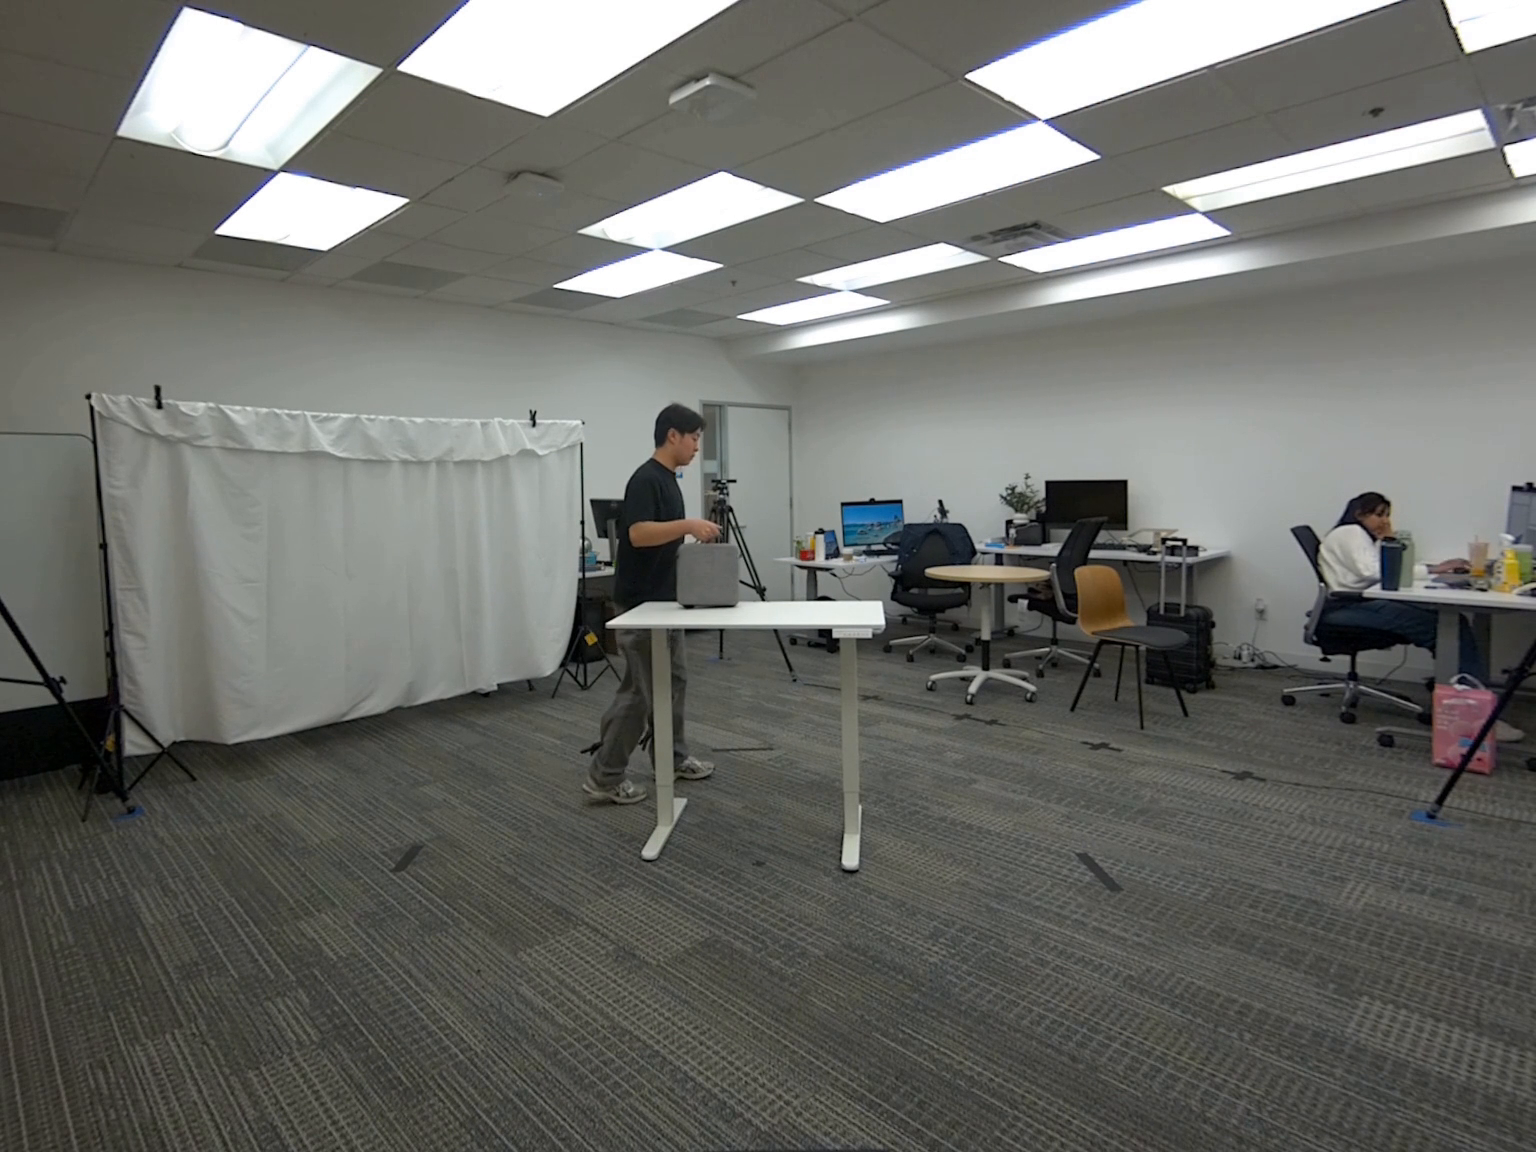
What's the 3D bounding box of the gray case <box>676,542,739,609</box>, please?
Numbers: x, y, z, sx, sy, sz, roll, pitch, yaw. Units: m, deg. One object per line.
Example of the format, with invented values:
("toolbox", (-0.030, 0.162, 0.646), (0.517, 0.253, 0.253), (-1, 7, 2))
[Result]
("gray case", (-0.237, -0.017, 3.489), (0.262, 0.288, 0.103), (0, -4, -4))
